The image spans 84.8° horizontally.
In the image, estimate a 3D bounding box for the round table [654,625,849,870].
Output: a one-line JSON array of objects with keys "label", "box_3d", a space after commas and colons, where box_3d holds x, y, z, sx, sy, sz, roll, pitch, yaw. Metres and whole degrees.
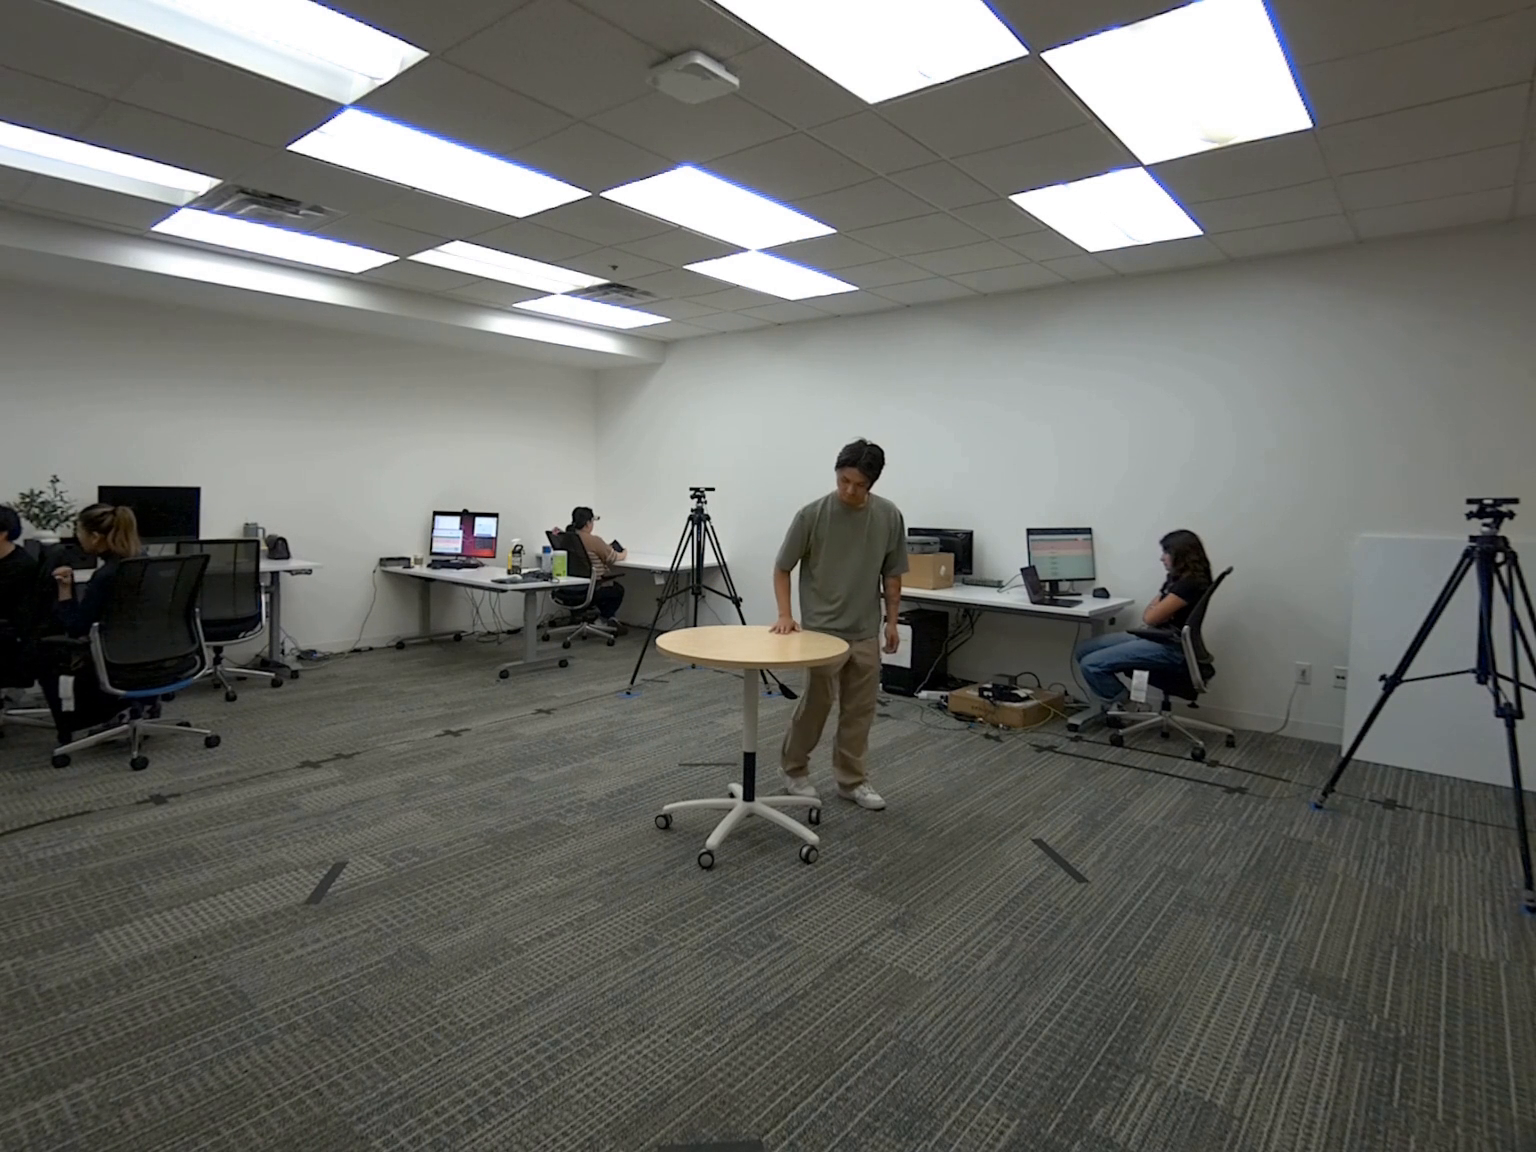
[{"label": "round table", "box_3d": [-0.084, 0.651, 3.411, 0.763, 0.791, 0.768, 1, 4, -2]}]
